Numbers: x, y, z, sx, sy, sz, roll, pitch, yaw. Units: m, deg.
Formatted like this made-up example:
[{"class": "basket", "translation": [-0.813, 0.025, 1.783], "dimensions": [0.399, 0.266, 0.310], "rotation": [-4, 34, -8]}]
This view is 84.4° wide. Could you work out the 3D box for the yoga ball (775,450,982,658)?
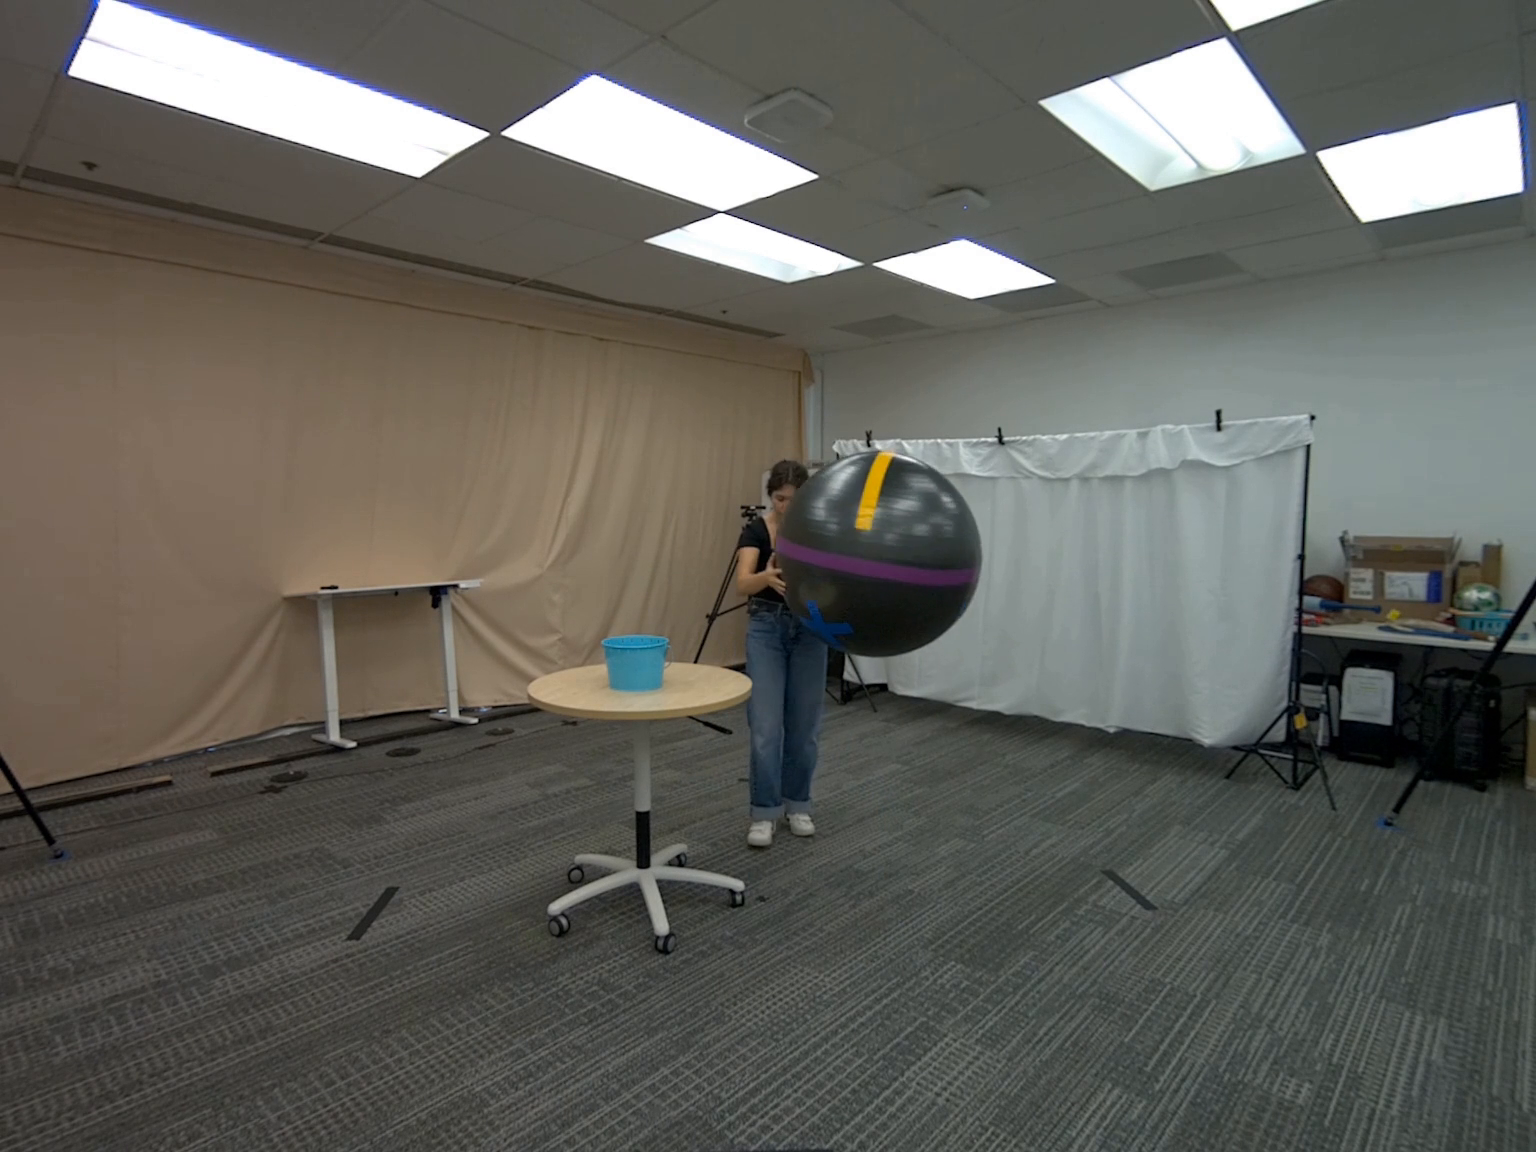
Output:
[{"class": "yoga ball", "translation": [0.401, -0.069, 3.140], "dimensions": [0.757, 0.756, 0.760], "rotation": [0, 4, -2]}]
